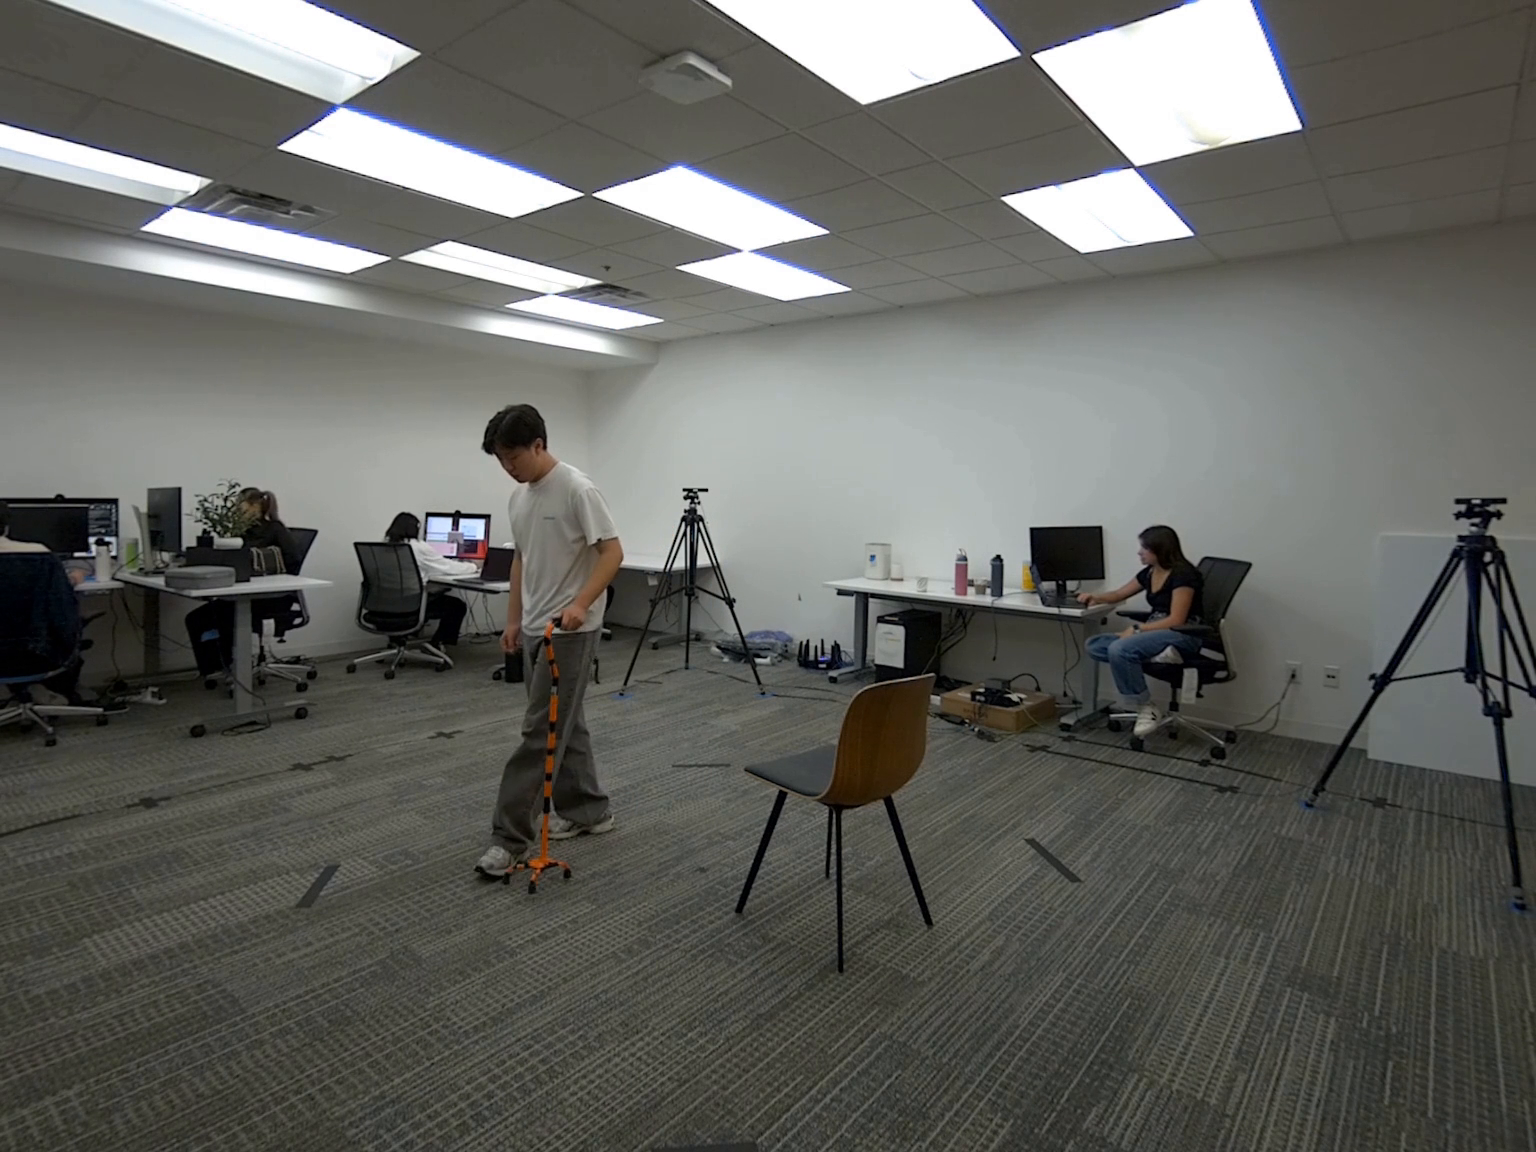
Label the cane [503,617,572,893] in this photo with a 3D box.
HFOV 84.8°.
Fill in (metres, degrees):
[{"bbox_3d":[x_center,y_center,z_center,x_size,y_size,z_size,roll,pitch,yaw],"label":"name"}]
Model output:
[{"bbox_3d":[-0.776,0.583,2.969,0.156,0.909,0.200,3,-1,37],"label":"cane"}]
